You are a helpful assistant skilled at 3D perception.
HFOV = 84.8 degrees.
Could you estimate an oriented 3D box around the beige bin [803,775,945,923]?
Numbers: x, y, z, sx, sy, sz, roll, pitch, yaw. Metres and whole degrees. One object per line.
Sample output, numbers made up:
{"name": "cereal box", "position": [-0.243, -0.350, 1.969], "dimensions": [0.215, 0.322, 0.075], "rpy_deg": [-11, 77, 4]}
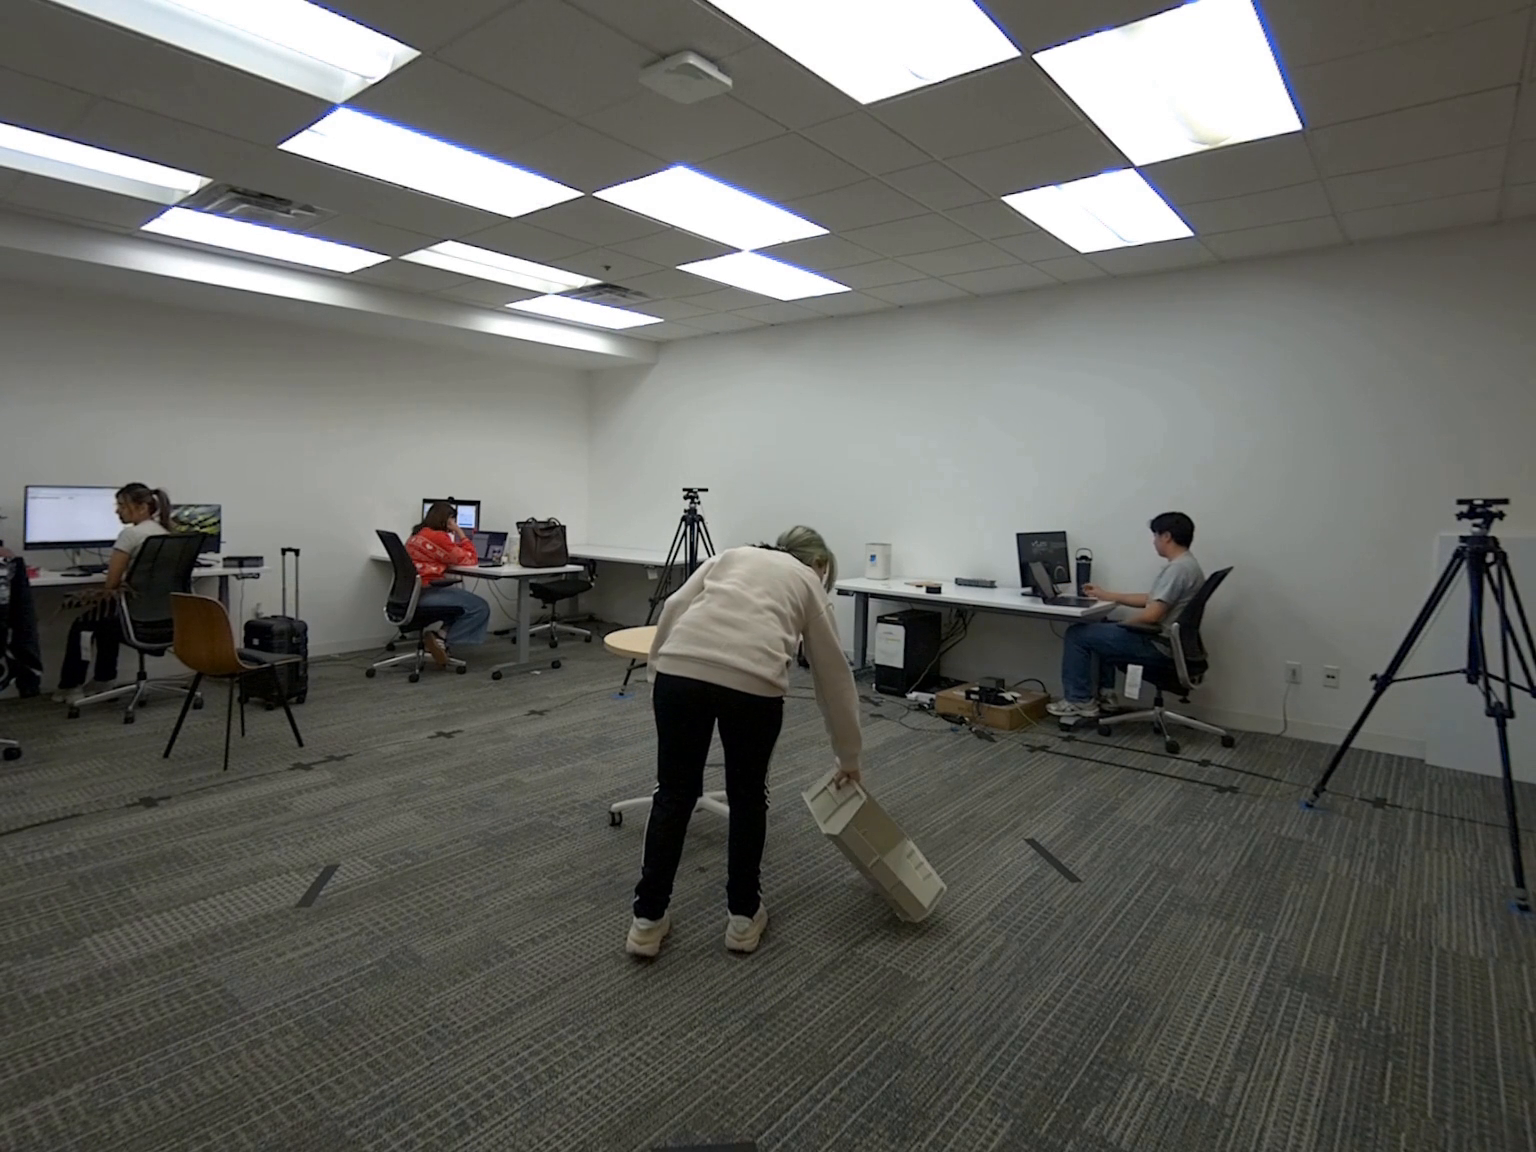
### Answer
{"name": "beige bin", "position": [0.337, 0.863, 2.810], "dimensions": [0.189, 0.416, 0.383], "rpy_deg": [-42, 11, -3]}
